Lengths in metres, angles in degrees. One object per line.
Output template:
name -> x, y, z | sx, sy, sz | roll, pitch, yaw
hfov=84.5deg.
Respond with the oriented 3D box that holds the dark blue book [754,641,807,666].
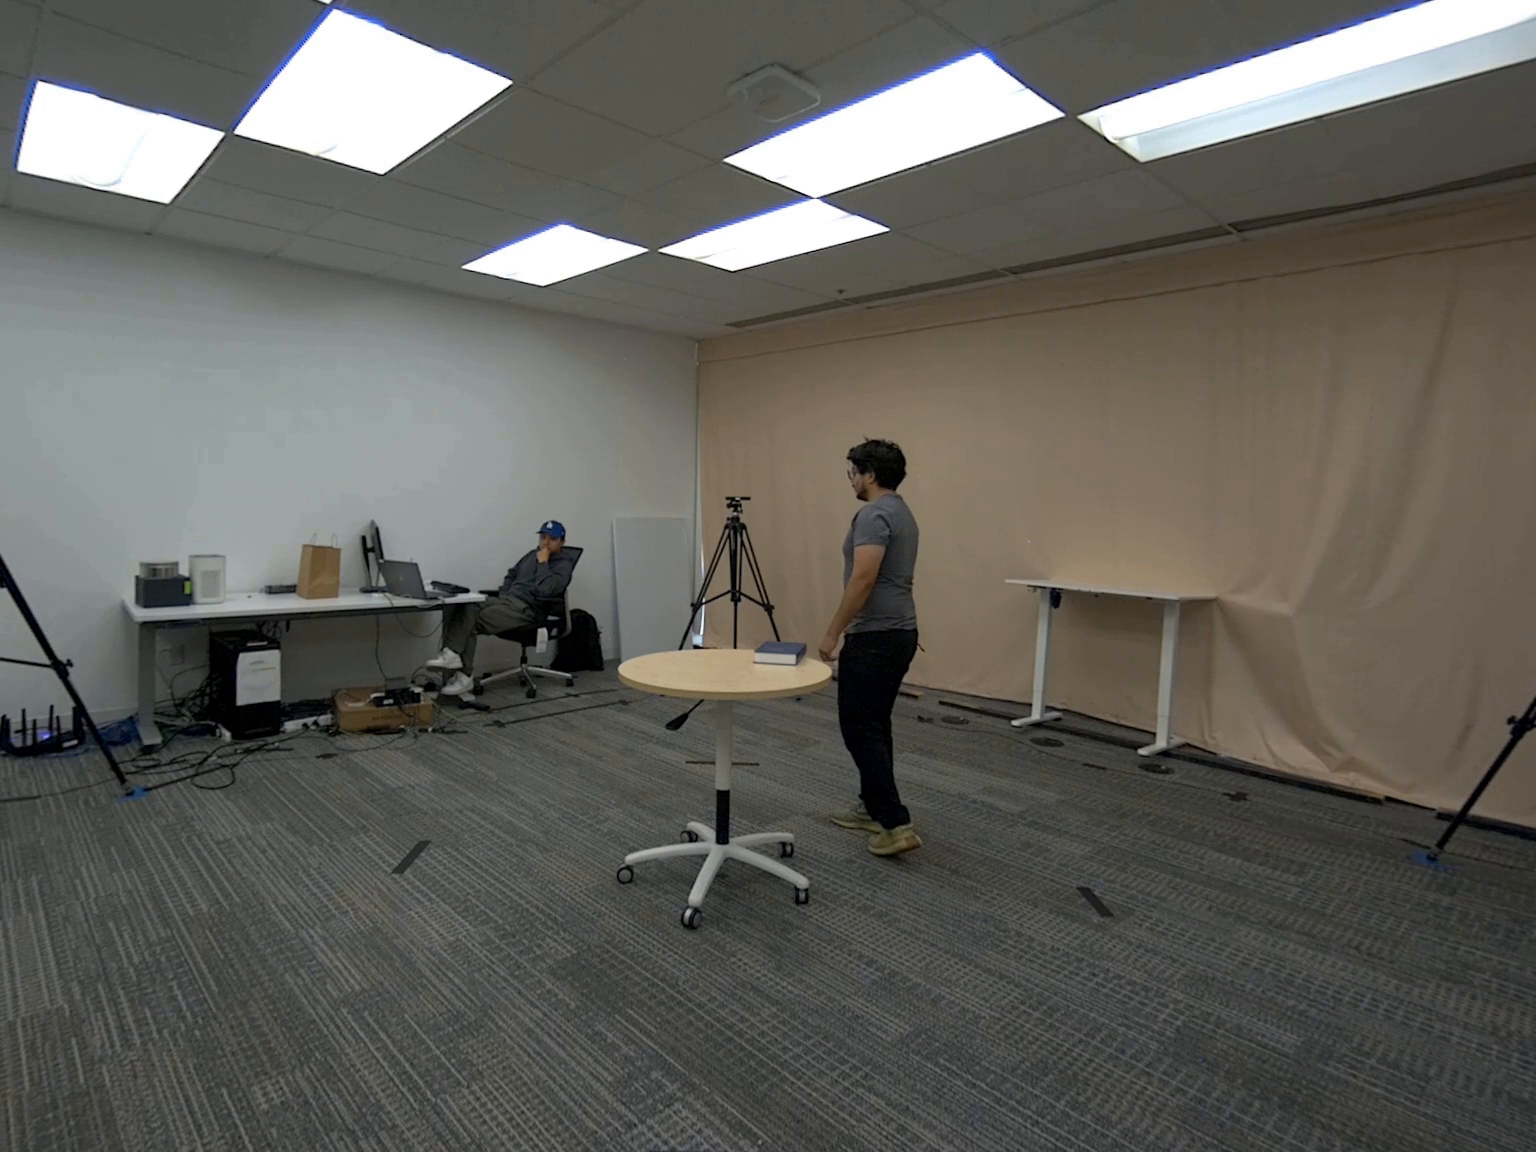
dark blue book -> 0.044, 0.296, 3.214 | 0.165, 0.045, 0.243 | 1, 5, 11
